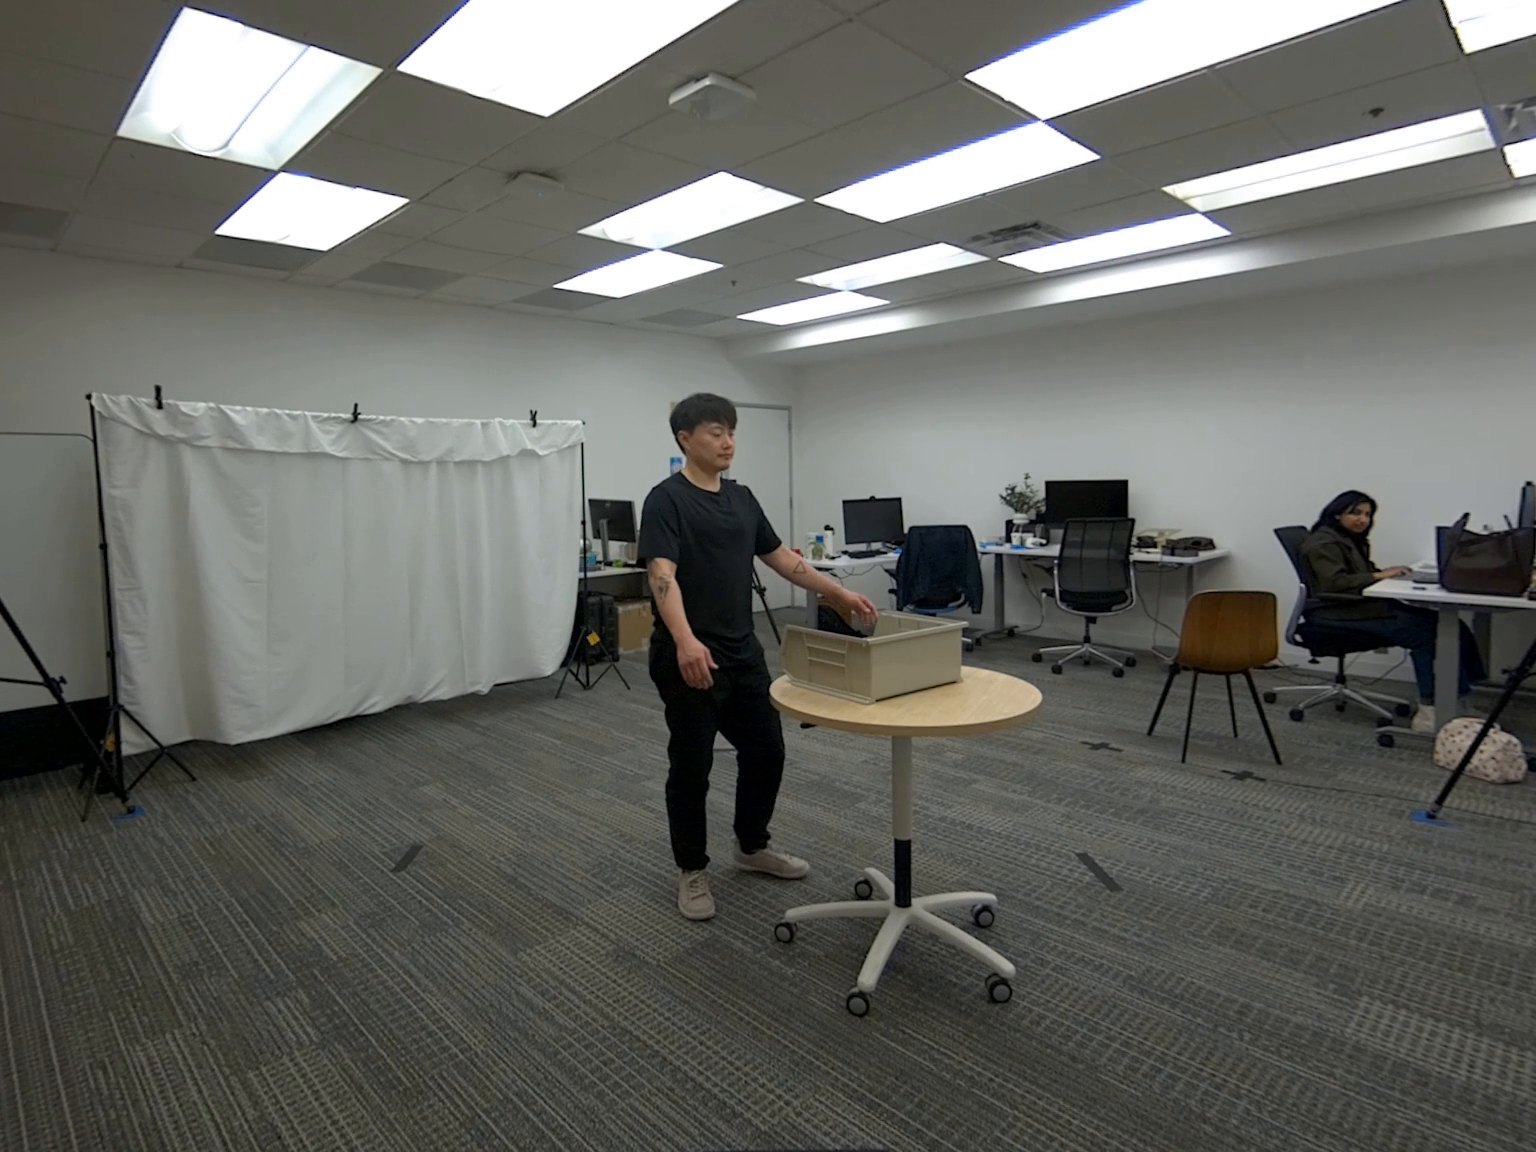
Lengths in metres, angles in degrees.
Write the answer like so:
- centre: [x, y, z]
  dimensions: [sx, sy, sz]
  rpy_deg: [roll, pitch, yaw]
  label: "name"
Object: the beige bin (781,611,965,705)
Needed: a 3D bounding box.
- centre: [0.316, 0.236, 2.551]
  dimensions: [0.411, 0.188, 0.389]
  rpy_deg: [-4, 8, -37]
  label: "beige bin"
